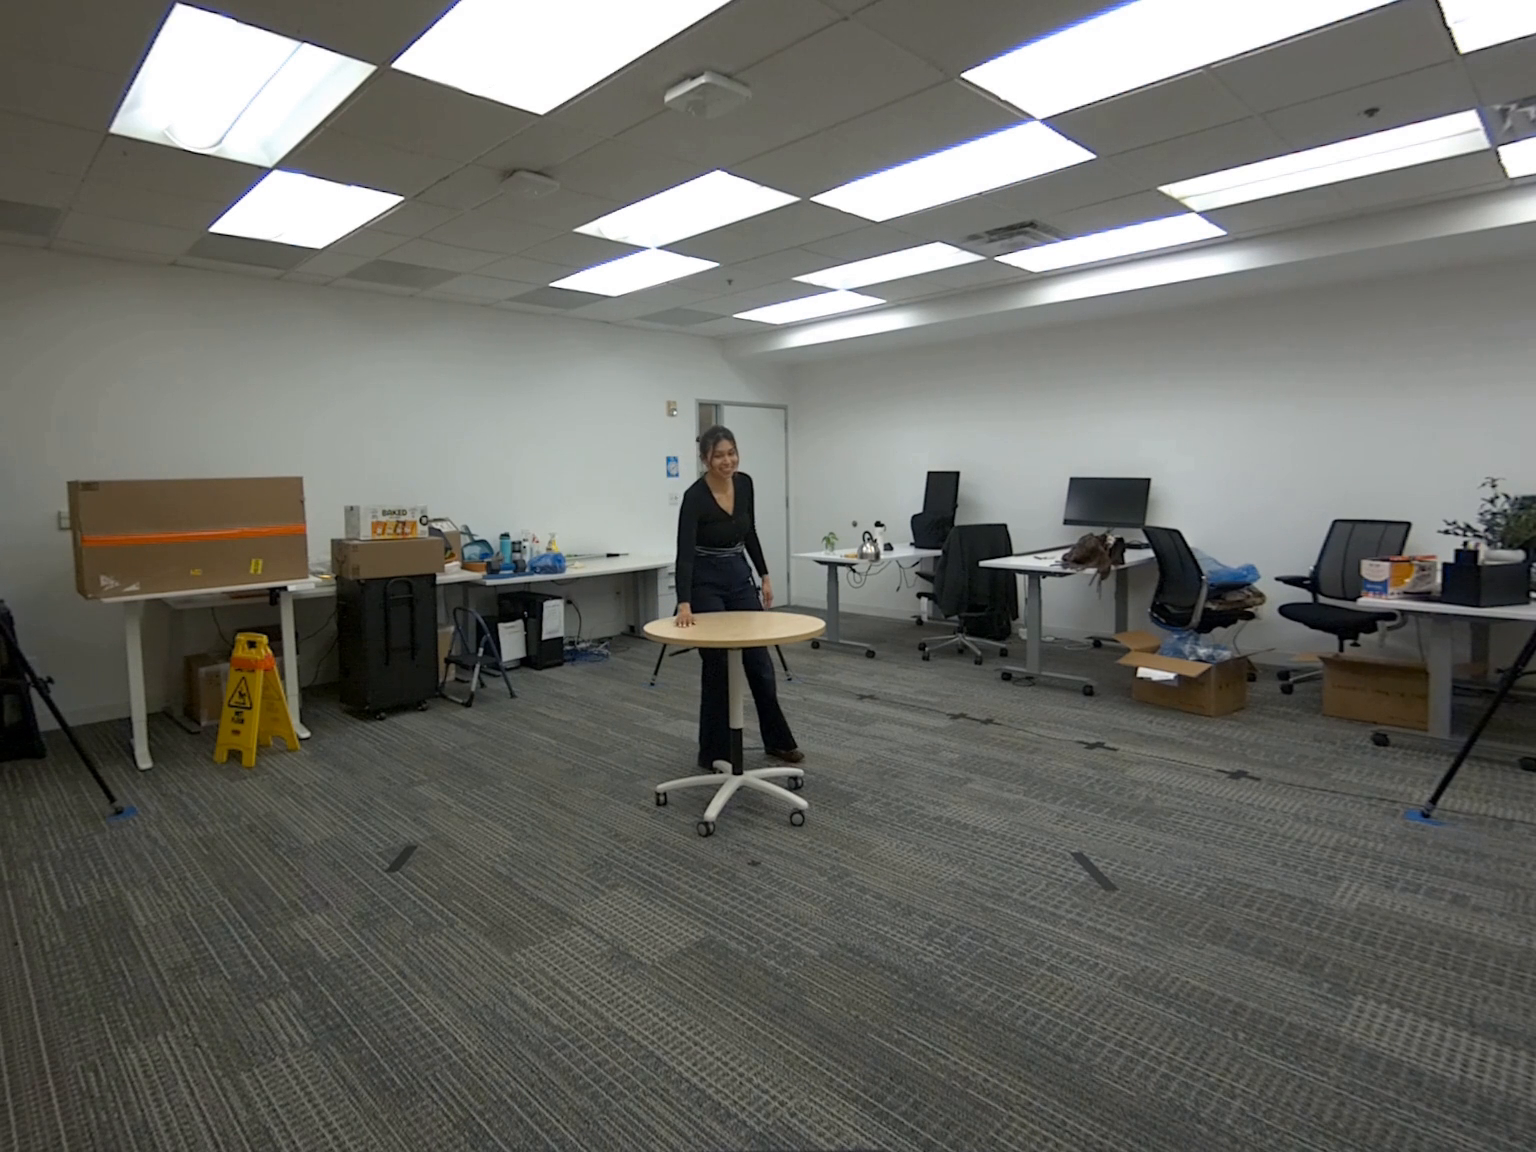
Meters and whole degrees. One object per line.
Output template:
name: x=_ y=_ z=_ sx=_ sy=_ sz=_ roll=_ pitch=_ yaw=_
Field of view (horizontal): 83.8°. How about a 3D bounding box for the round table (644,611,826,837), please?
round table: x=-0.134 y=0.600 z=3.632 sx=0.763 sy=0.791 sz=0.767 roll=-1 pitch=4 yaw=-2
